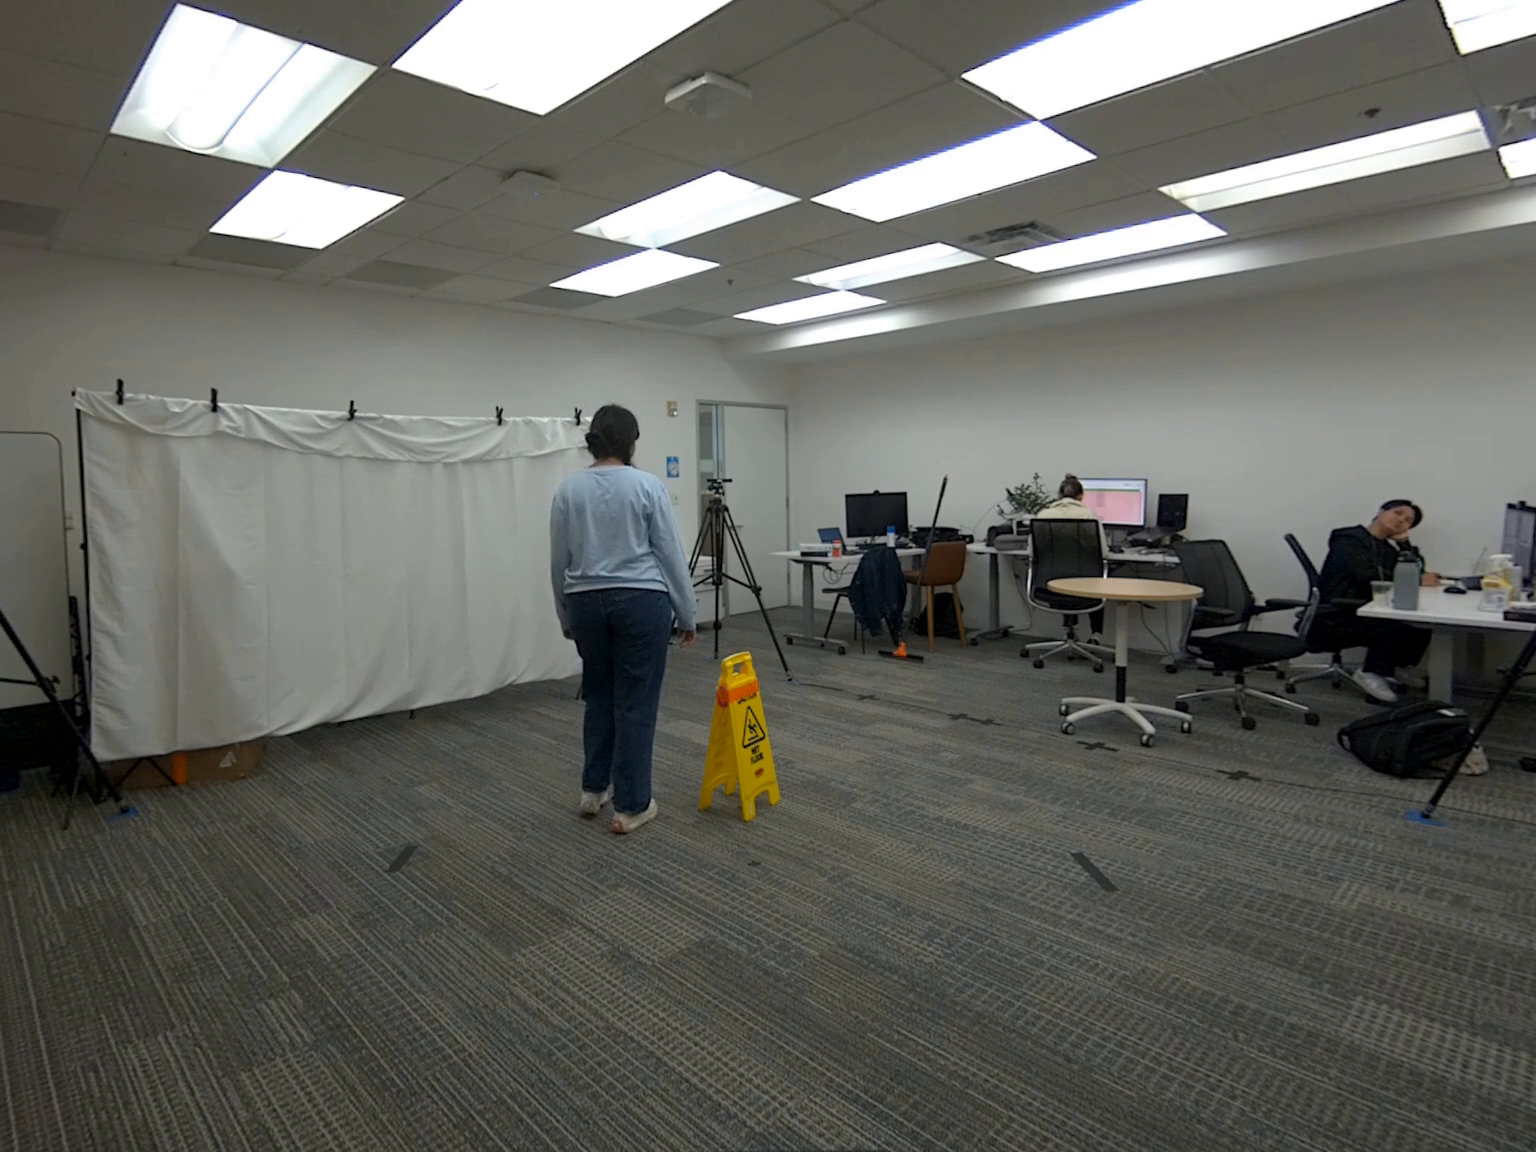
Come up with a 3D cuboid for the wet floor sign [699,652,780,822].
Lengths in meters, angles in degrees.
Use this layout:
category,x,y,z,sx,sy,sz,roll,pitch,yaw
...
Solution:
category,x,y,z,sx,sy,sz,roll,pitch,yaw
wet floor sign,-0.134,0.657,3.650,0.297,0.645,0.275,1,3,31
